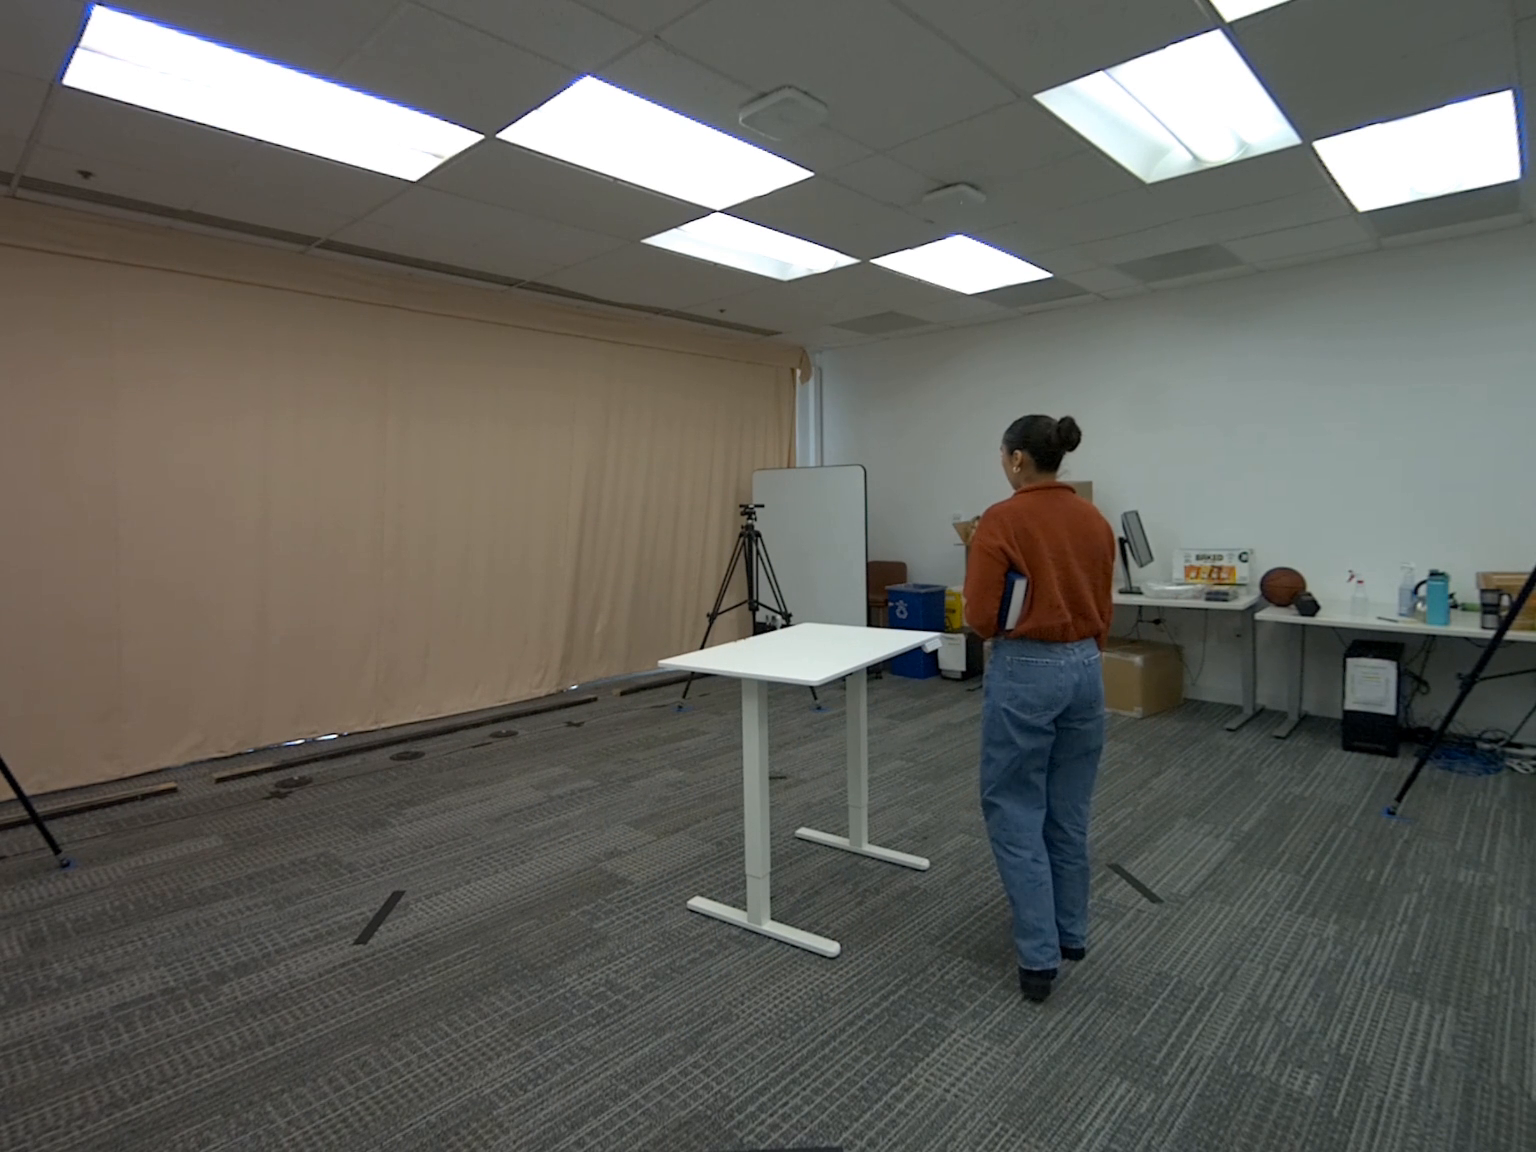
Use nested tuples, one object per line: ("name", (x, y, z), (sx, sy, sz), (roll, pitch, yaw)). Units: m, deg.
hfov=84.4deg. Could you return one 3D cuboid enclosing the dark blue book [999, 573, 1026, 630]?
("dark blue book", (0.677, 0.035, 2.495), (0.044, 0.161, 0.252), (-4, 21, -20))
